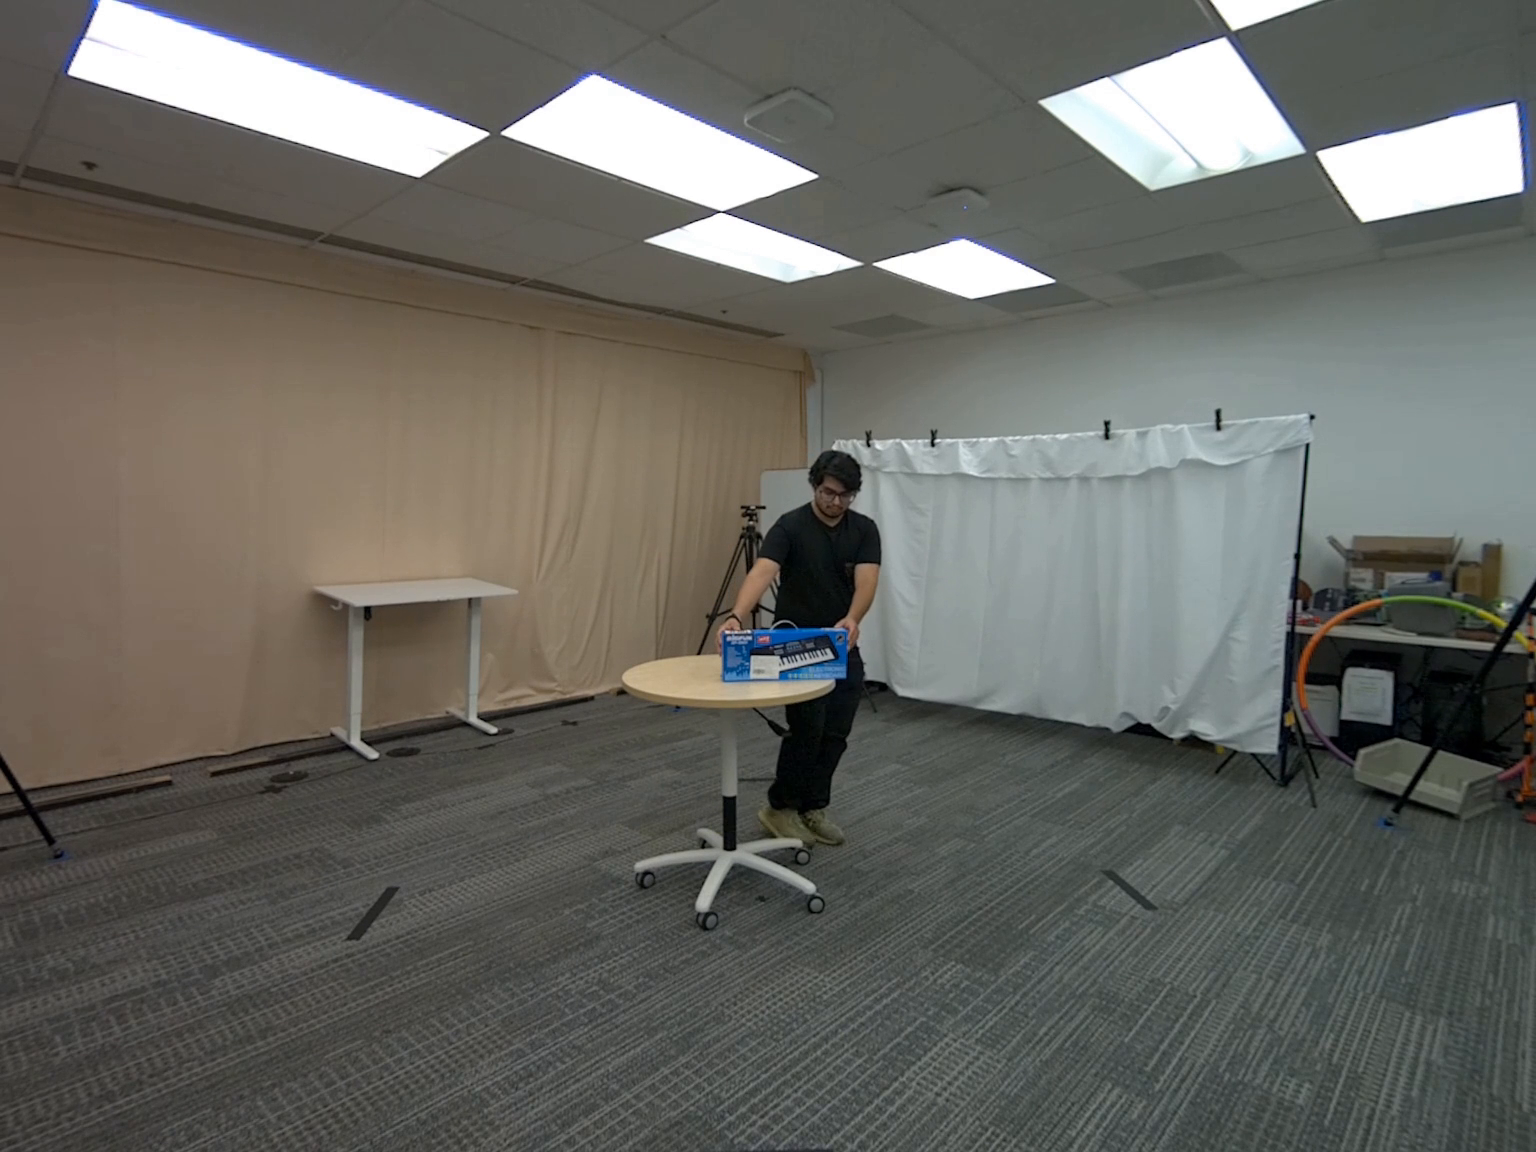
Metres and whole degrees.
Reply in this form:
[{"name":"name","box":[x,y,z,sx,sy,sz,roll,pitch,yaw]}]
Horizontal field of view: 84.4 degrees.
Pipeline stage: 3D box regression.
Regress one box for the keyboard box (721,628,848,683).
[{"name":"keyboard box","box":[0.057,0.276,2.951,0.434,0.175,0.060,-1,6,-5]}]
